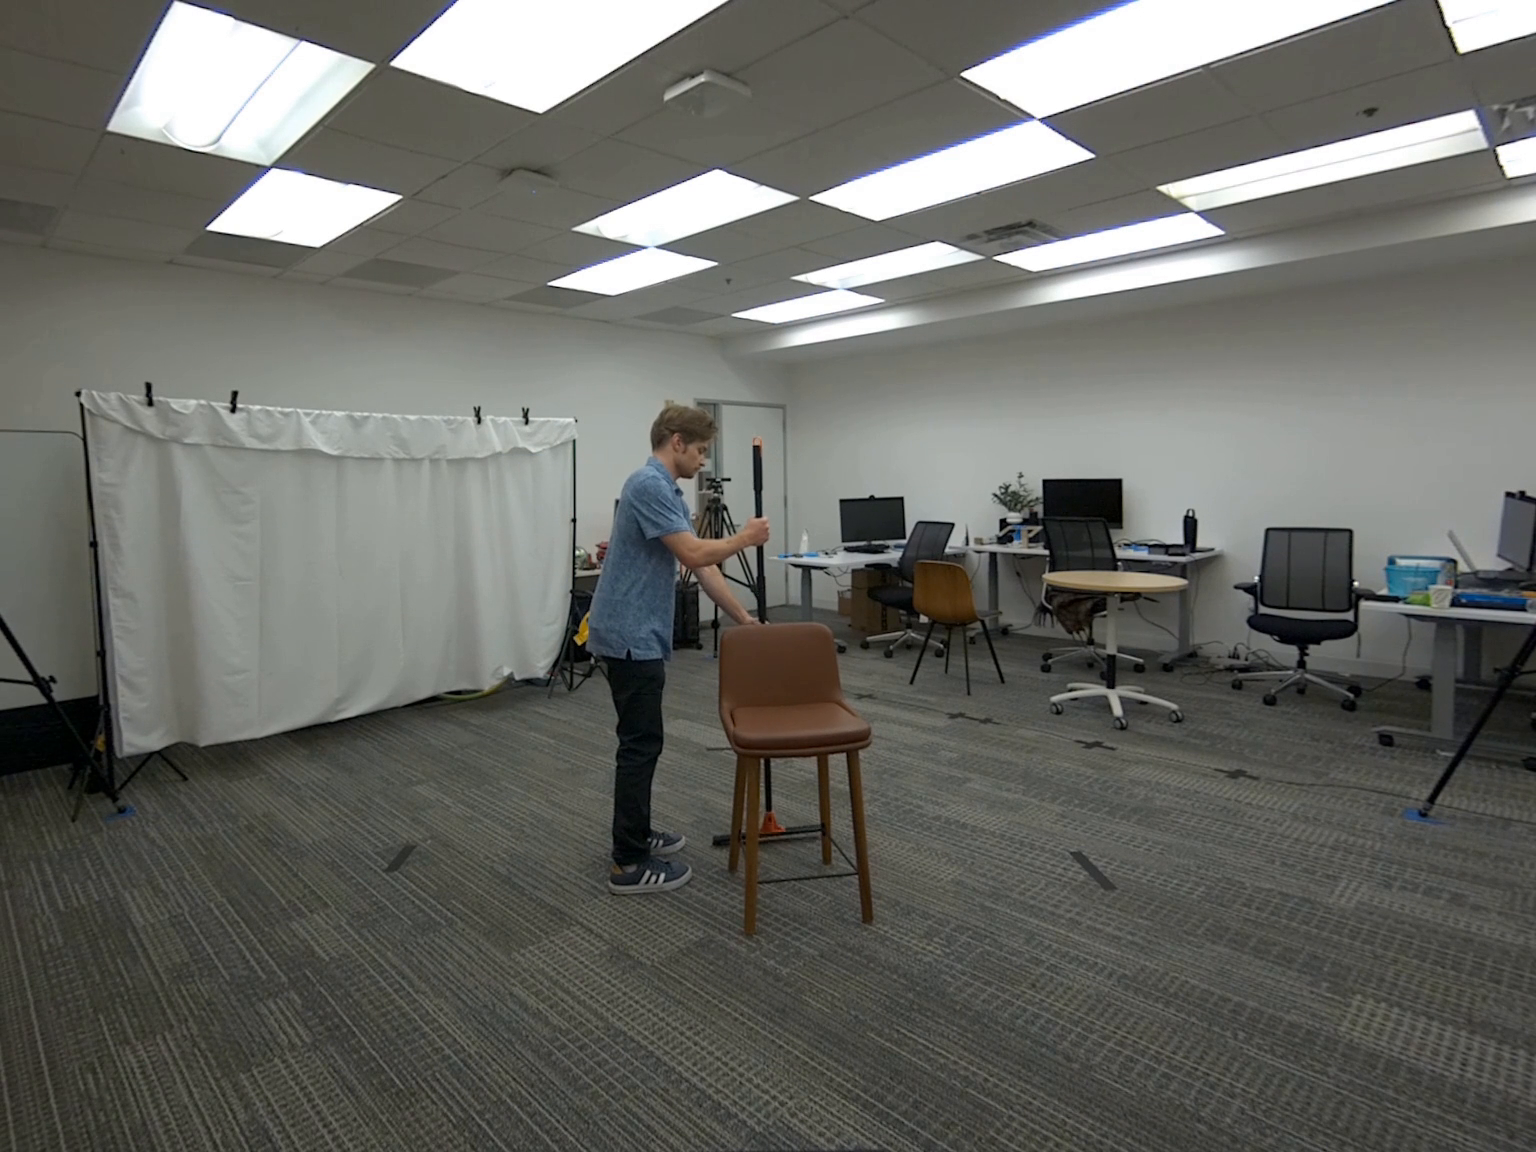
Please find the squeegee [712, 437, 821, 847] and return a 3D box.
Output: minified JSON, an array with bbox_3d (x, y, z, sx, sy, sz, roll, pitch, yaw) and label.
[{"bbox_3d":[-0.023,0.253,3.173,0.438,1.526,0.053,0,8,1],"label":"squeegee"}]
